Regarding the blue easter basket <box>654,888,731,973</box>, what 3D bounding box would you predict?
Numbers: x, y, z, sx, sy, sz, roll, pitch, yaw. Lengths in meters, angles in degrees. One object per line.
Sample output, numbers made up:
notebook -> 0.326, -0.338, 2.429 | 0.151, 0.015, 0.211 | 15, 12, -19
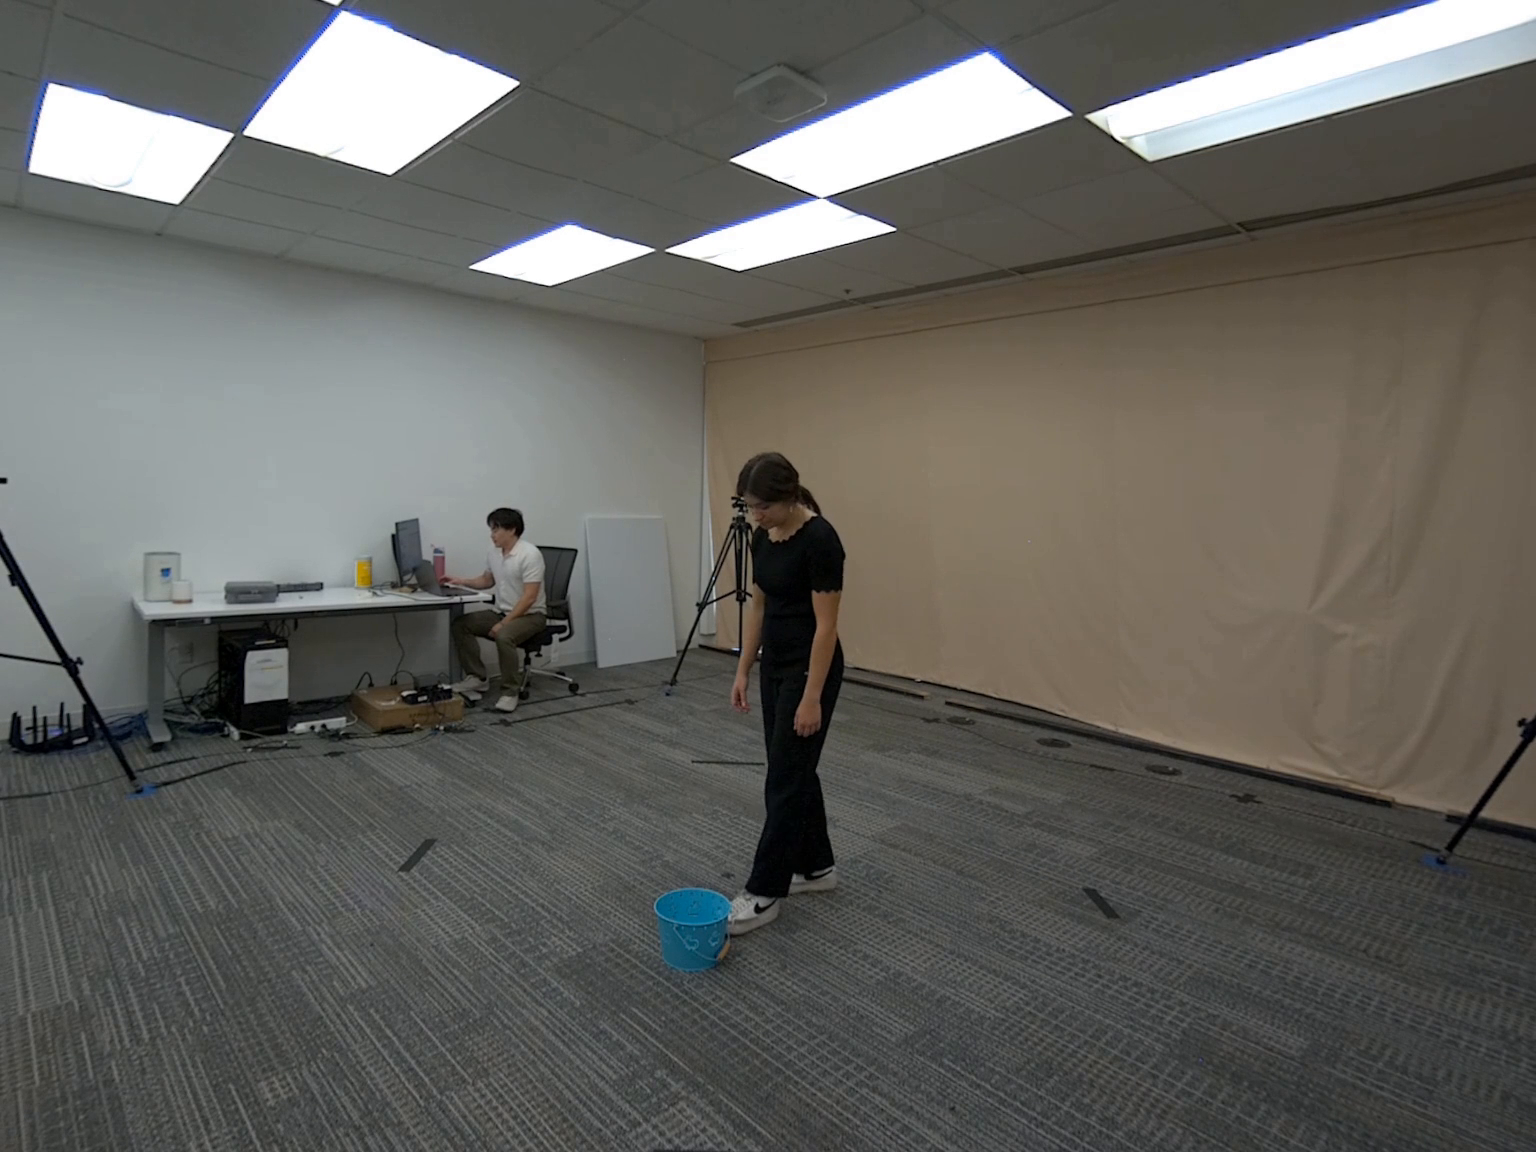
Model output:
blue easter basket -> -0.238, 1.076, 2.550 | 0.243, 0.155, 0.244 | 1, 5, -1
